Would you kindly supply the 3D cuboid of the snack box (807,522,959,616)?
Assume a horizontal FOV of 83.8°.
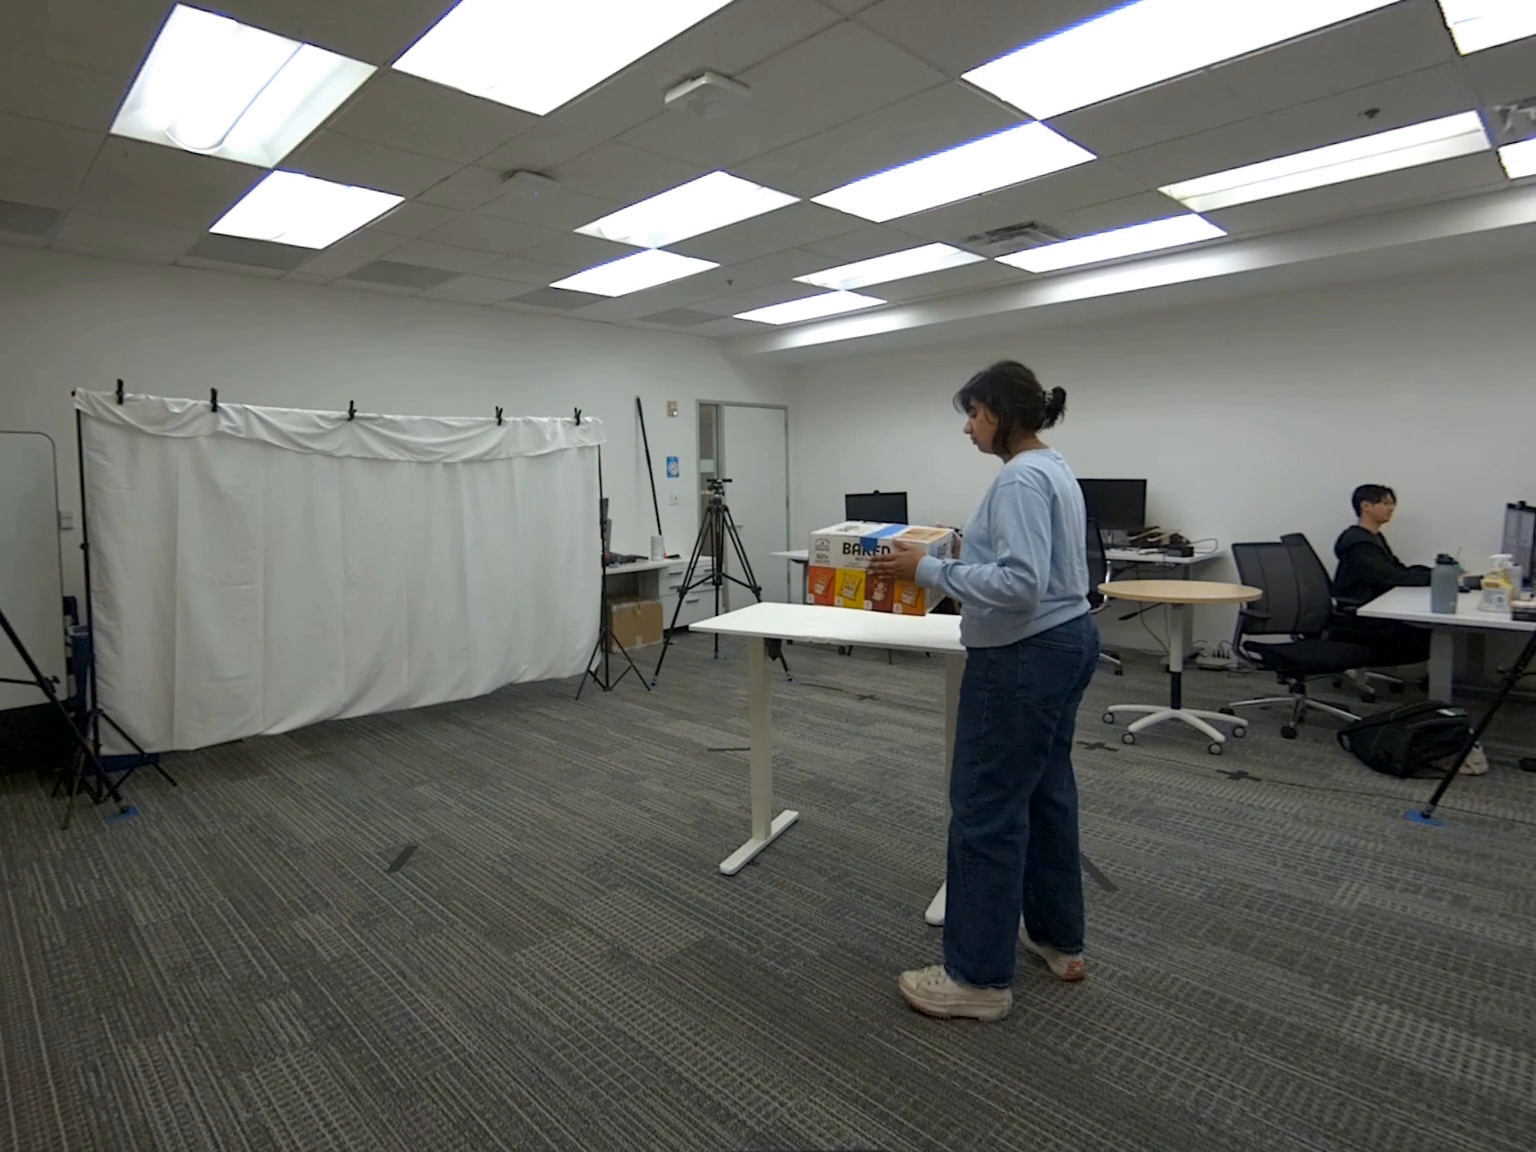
[{"bbox_3d":[0.344,-0.033,2.530,0.348,0.204,0.399,6,10,23],"label":"snack box"}]
